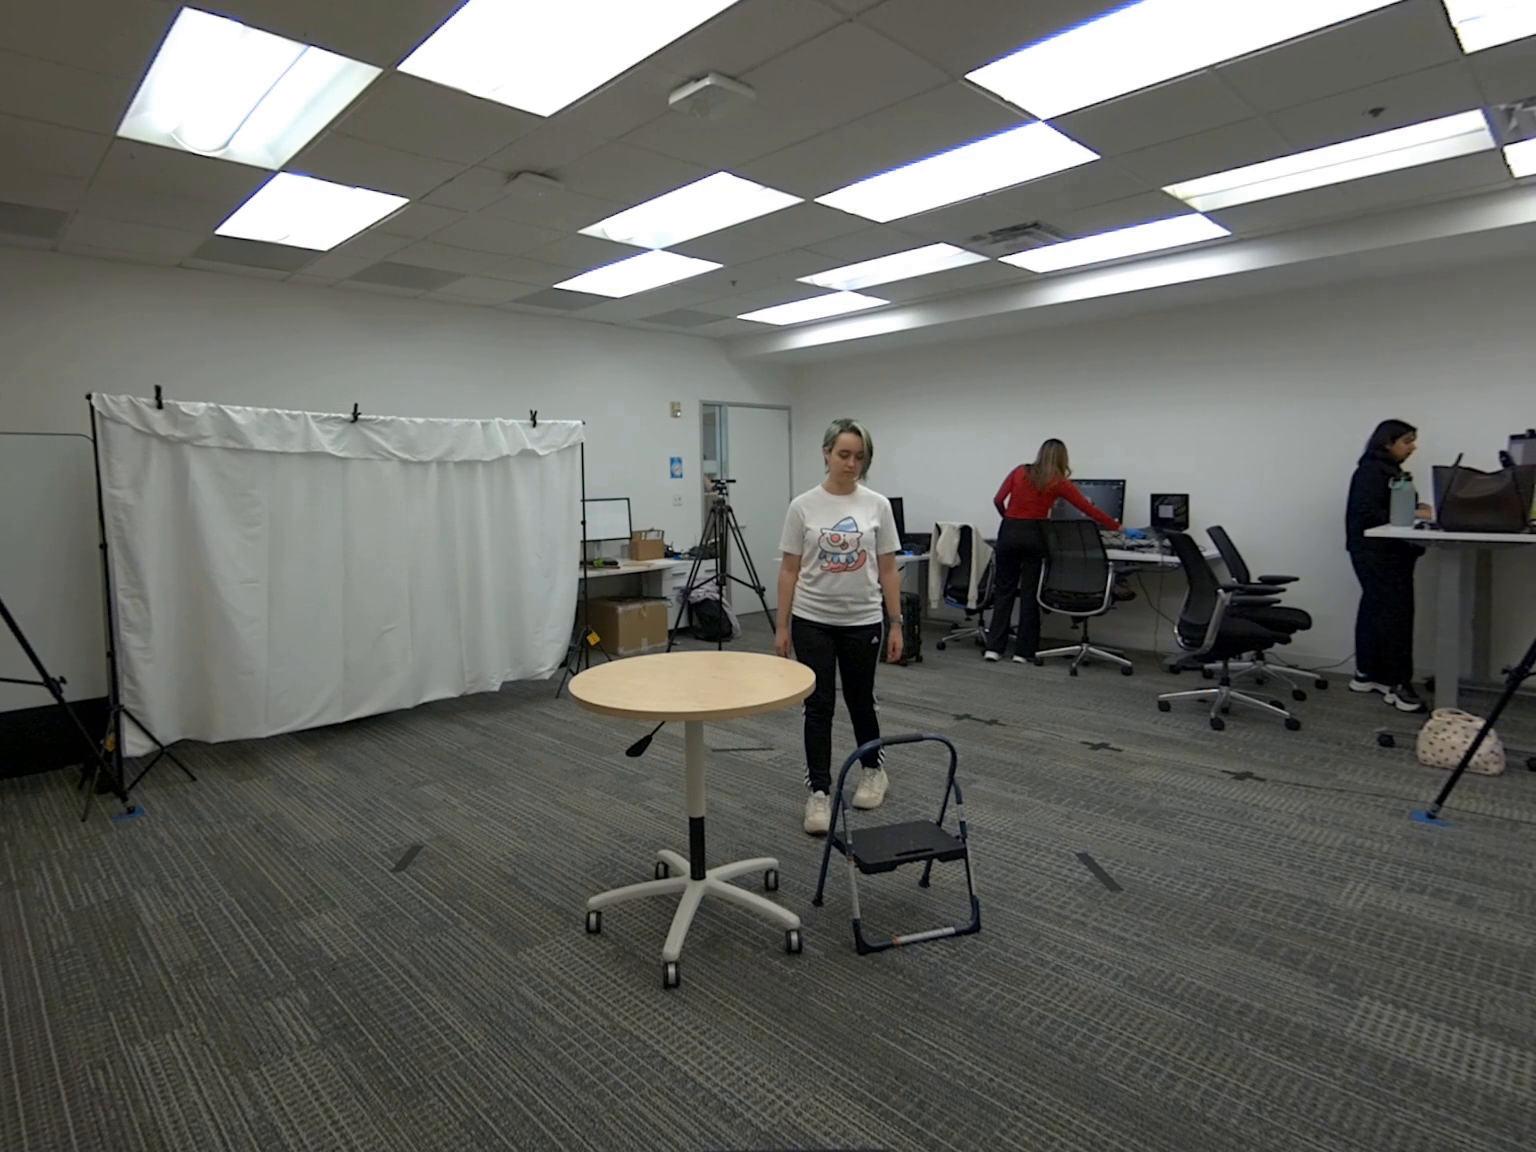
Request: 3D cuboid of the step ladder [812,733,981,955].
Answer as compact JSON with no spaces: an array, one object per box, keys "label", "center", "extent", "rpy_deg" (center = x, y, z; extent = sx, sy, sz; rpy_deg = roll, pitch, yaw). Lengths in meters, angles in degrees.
[{"label":"step ladder","center":[0.398,0.785,2.698],"extent":[0.423,0.603,0.356],"rpy_deg":[-3,5,-19]}]
